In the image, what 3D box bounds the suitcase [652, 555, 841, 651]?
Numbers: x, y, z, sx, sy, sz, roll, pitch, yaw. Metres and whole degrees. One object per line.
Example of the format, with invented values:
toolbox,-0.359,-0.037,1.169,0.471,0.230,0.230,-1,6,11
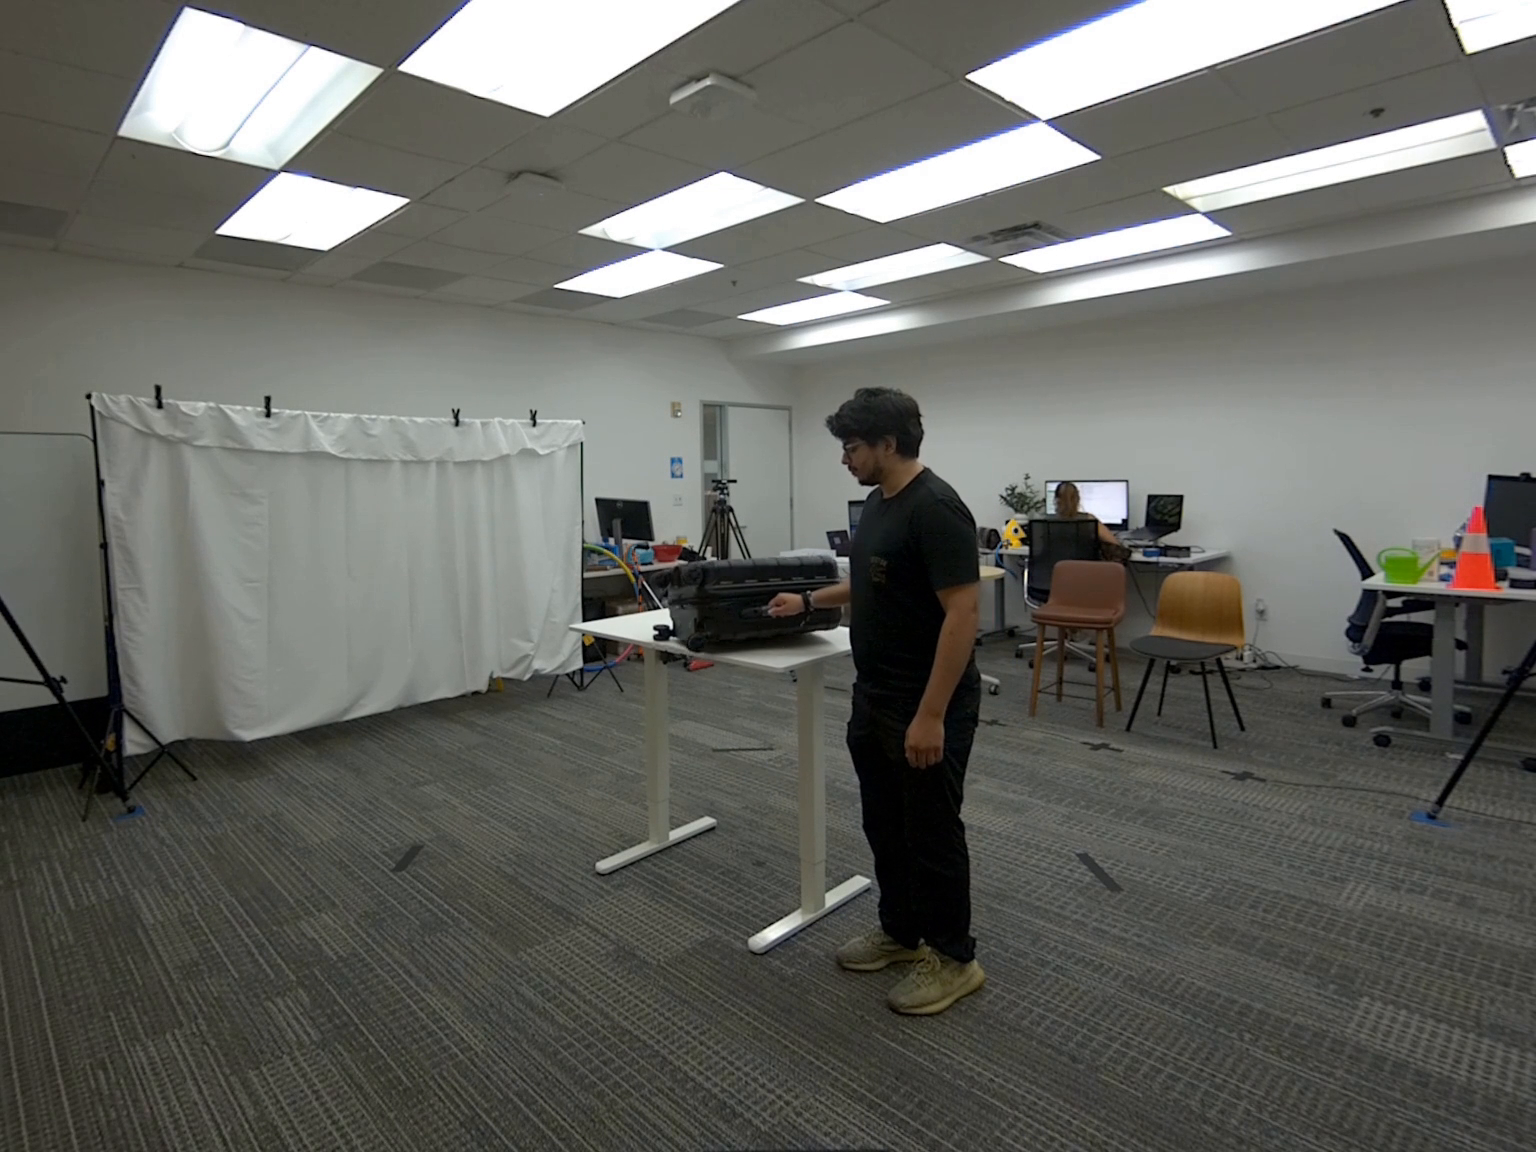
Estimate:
suitcase,-0.056,0.071,2.736,0.539,0.249,0.382,-4,-1,-23
